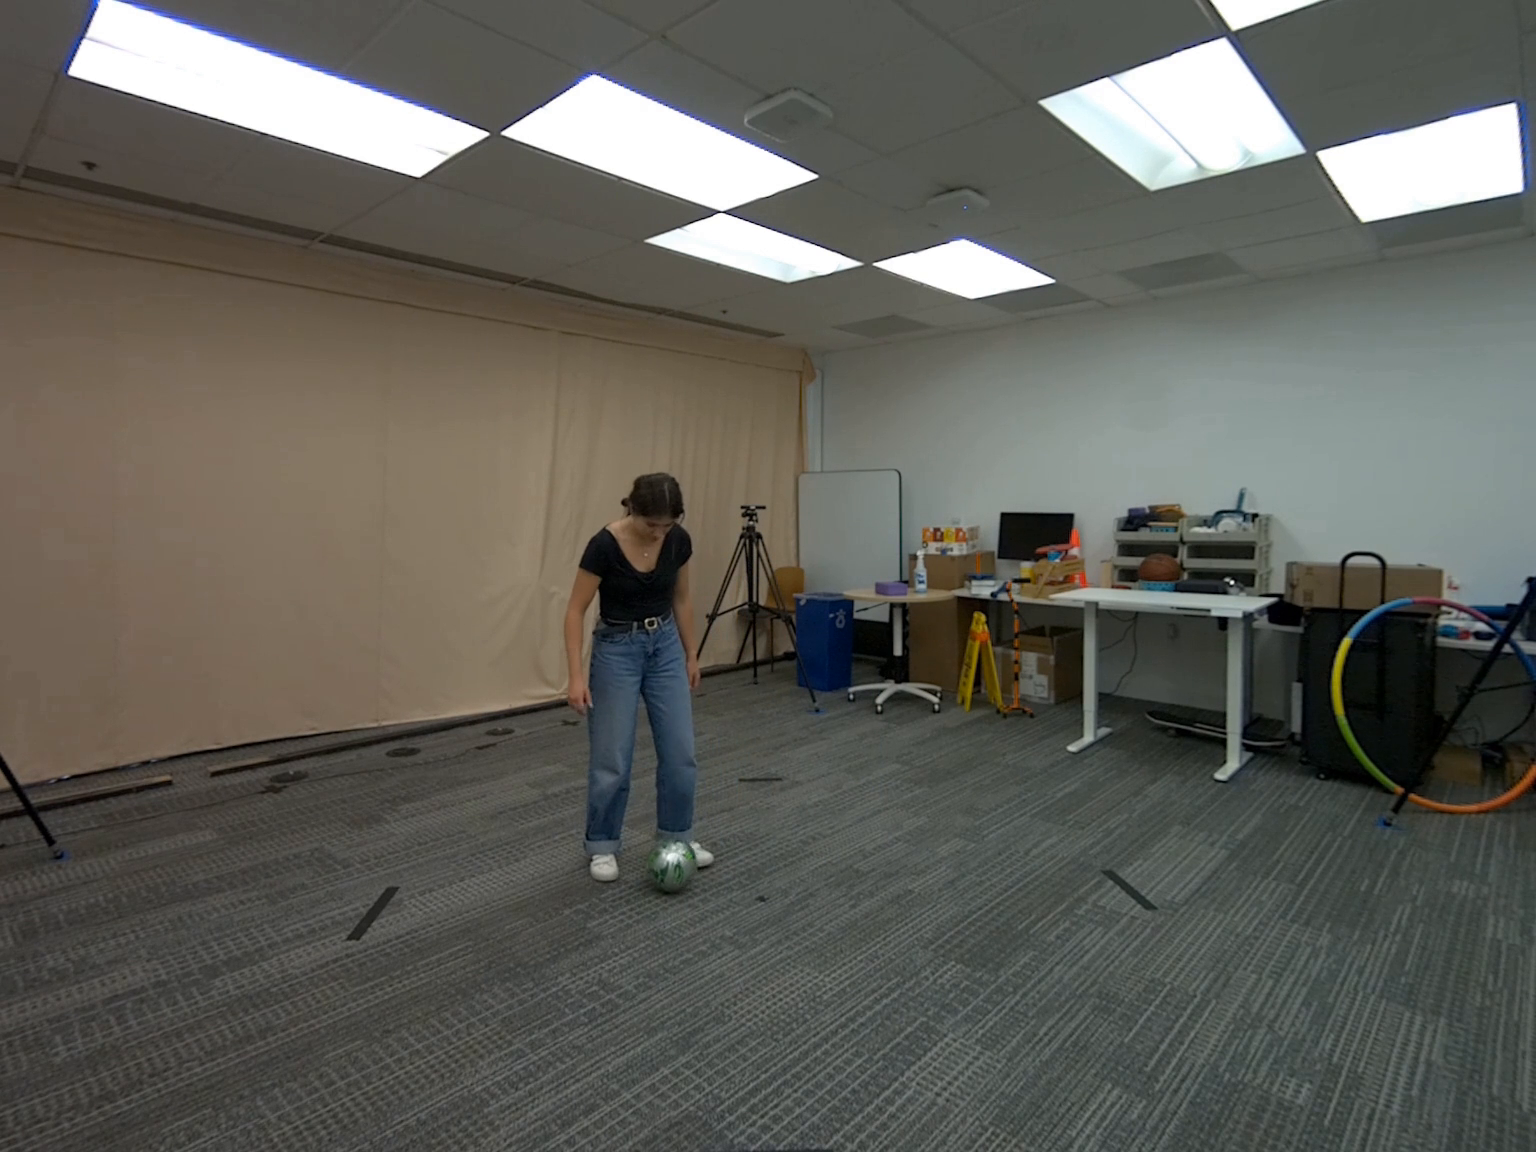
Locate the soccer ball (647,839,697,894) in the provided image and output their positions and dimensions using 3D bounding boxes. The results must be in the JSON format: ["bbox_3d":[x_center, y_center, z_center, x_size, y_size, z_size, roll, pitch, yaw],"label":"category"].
[{"bbox_3d":[-0.349,1.042,3.054,0.187,0.187,0.188,0,4,-2],"label":"soccer ball"}]
